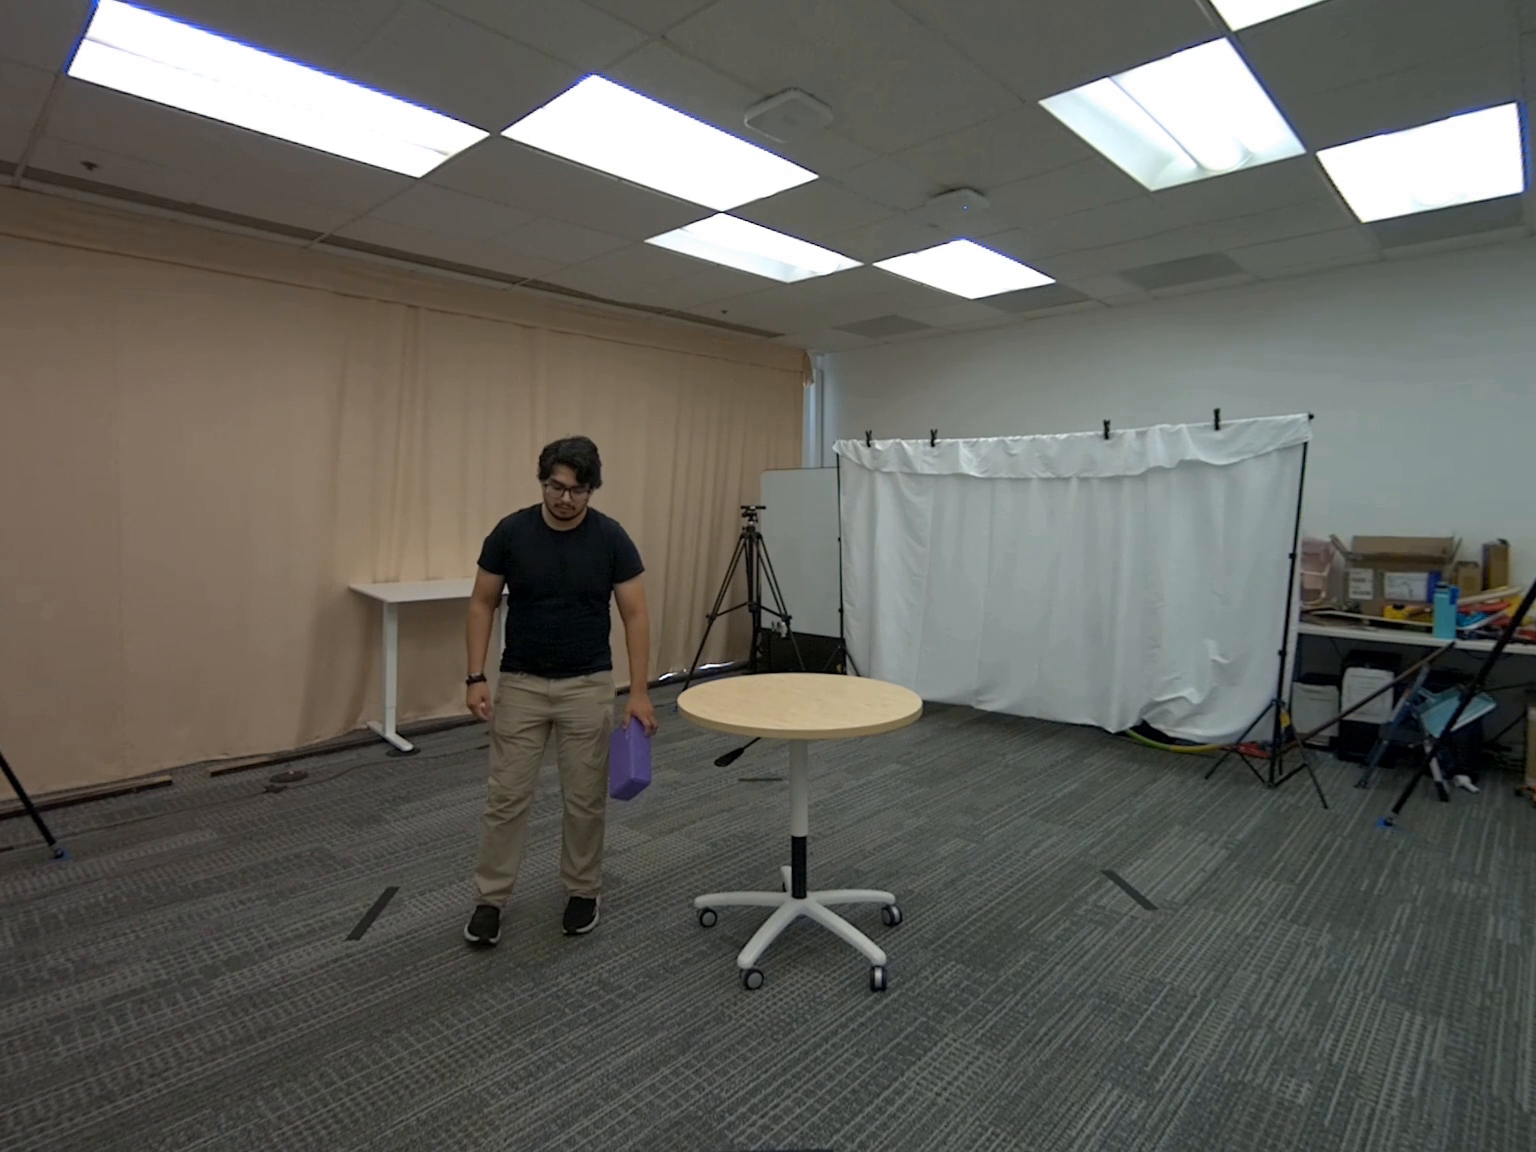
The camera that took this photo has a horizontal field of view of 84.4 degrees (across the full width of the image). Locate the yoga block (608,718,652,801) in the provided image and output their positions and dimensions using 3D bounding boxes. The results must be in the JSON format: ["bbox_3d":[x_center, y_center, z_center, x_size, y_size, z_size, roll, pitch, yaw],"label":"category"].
[{"bbox_3d":[-0.438,0.581,2.668,0.074,0.234,0.150,20,-44,-31],"label":"yoga block"}]
